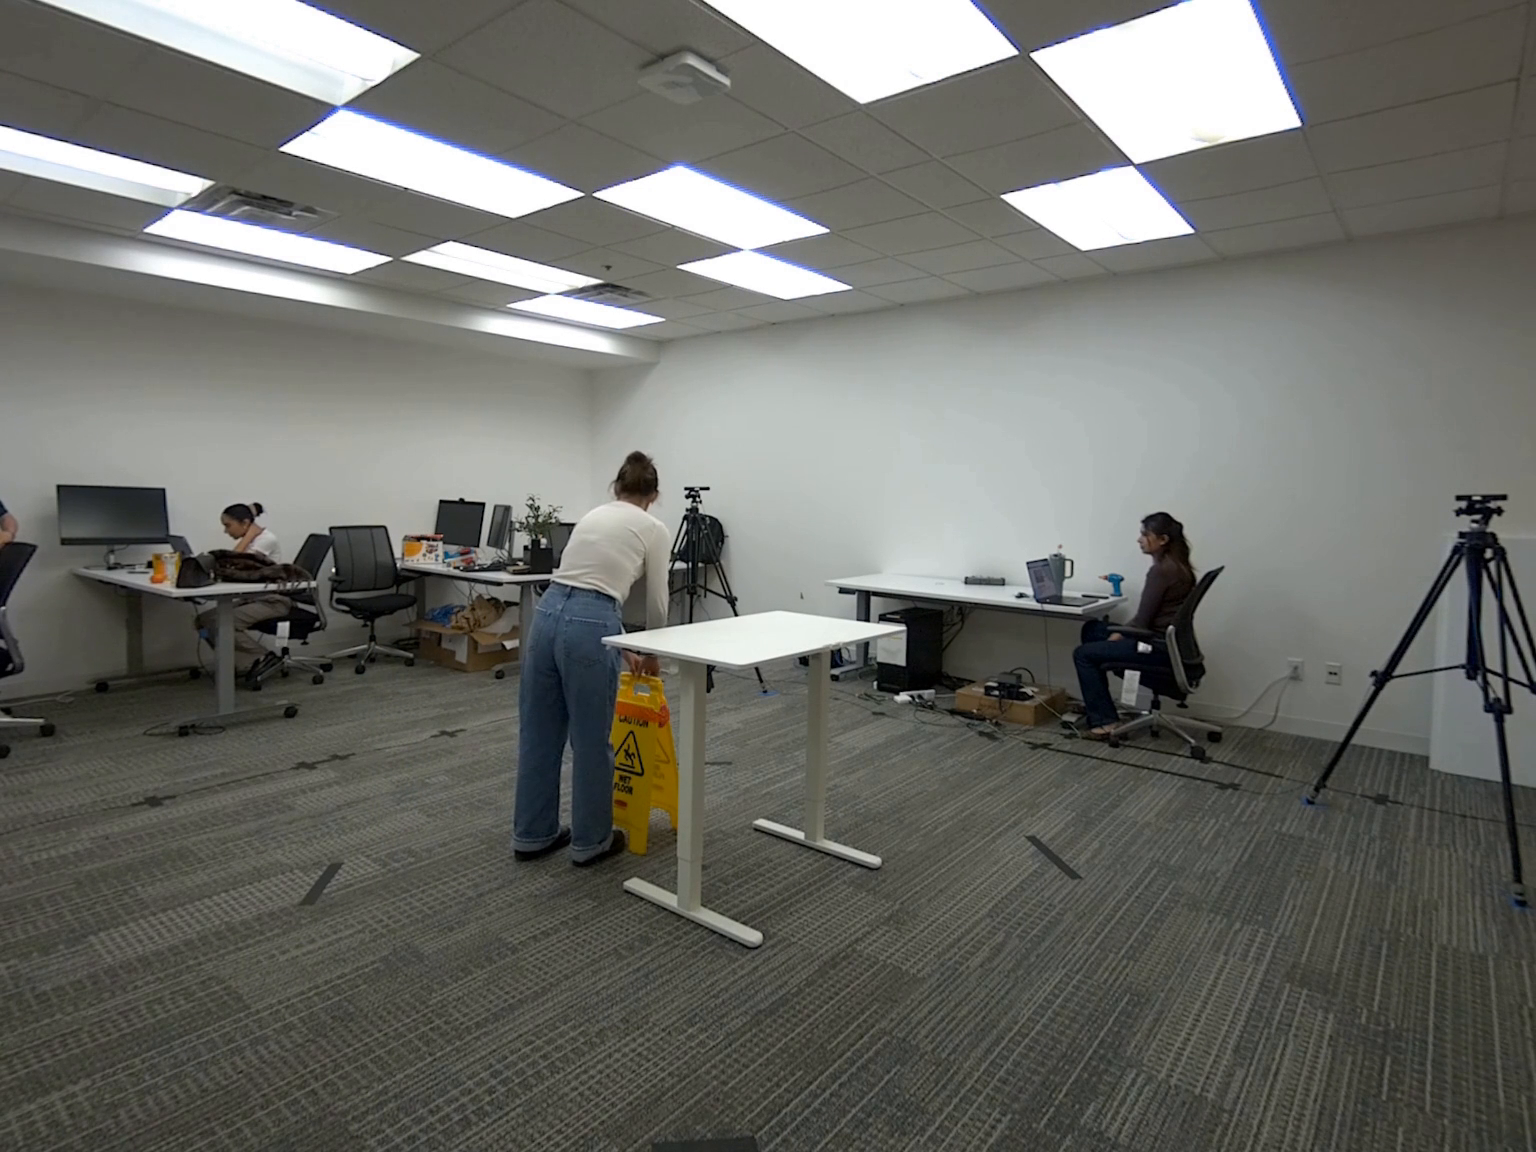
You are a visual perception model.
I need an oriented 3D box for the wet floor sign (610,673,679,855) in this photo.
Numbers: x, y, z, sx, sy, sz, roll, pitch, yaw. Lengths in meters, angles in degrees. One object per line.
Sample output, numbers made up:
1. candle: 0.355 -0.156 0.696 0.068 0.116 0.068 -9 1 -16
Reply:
1. wet floor sign: -0.523 0.711 3.385 0.291 0.644 0.282 3 4 33
